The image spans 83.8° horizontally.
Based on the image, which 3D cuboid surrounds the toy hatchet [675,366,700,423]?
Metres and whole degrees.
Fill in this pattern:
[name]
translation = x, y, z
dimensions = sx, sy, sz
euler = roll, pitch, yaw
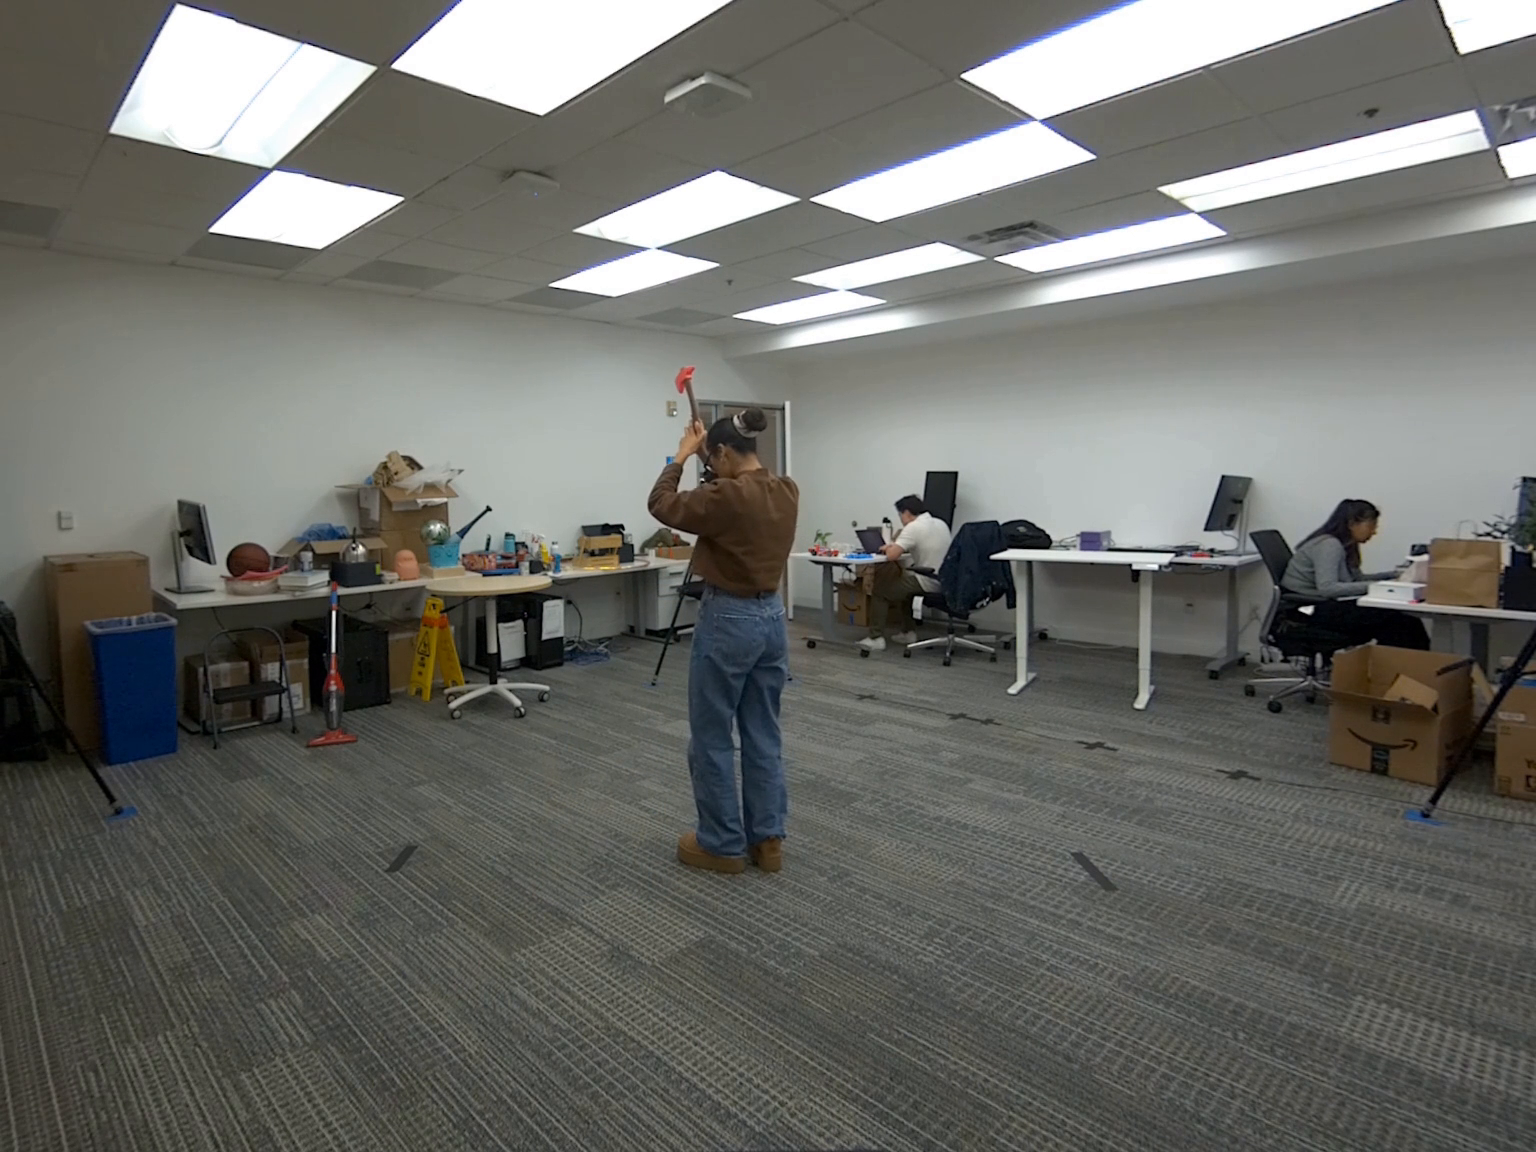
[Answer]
[toy hatchet]
translation = -0.302, -0.654, 3.217
dimensions = 0.029, 0.269, 0.134
euler = -8, 3, -39
